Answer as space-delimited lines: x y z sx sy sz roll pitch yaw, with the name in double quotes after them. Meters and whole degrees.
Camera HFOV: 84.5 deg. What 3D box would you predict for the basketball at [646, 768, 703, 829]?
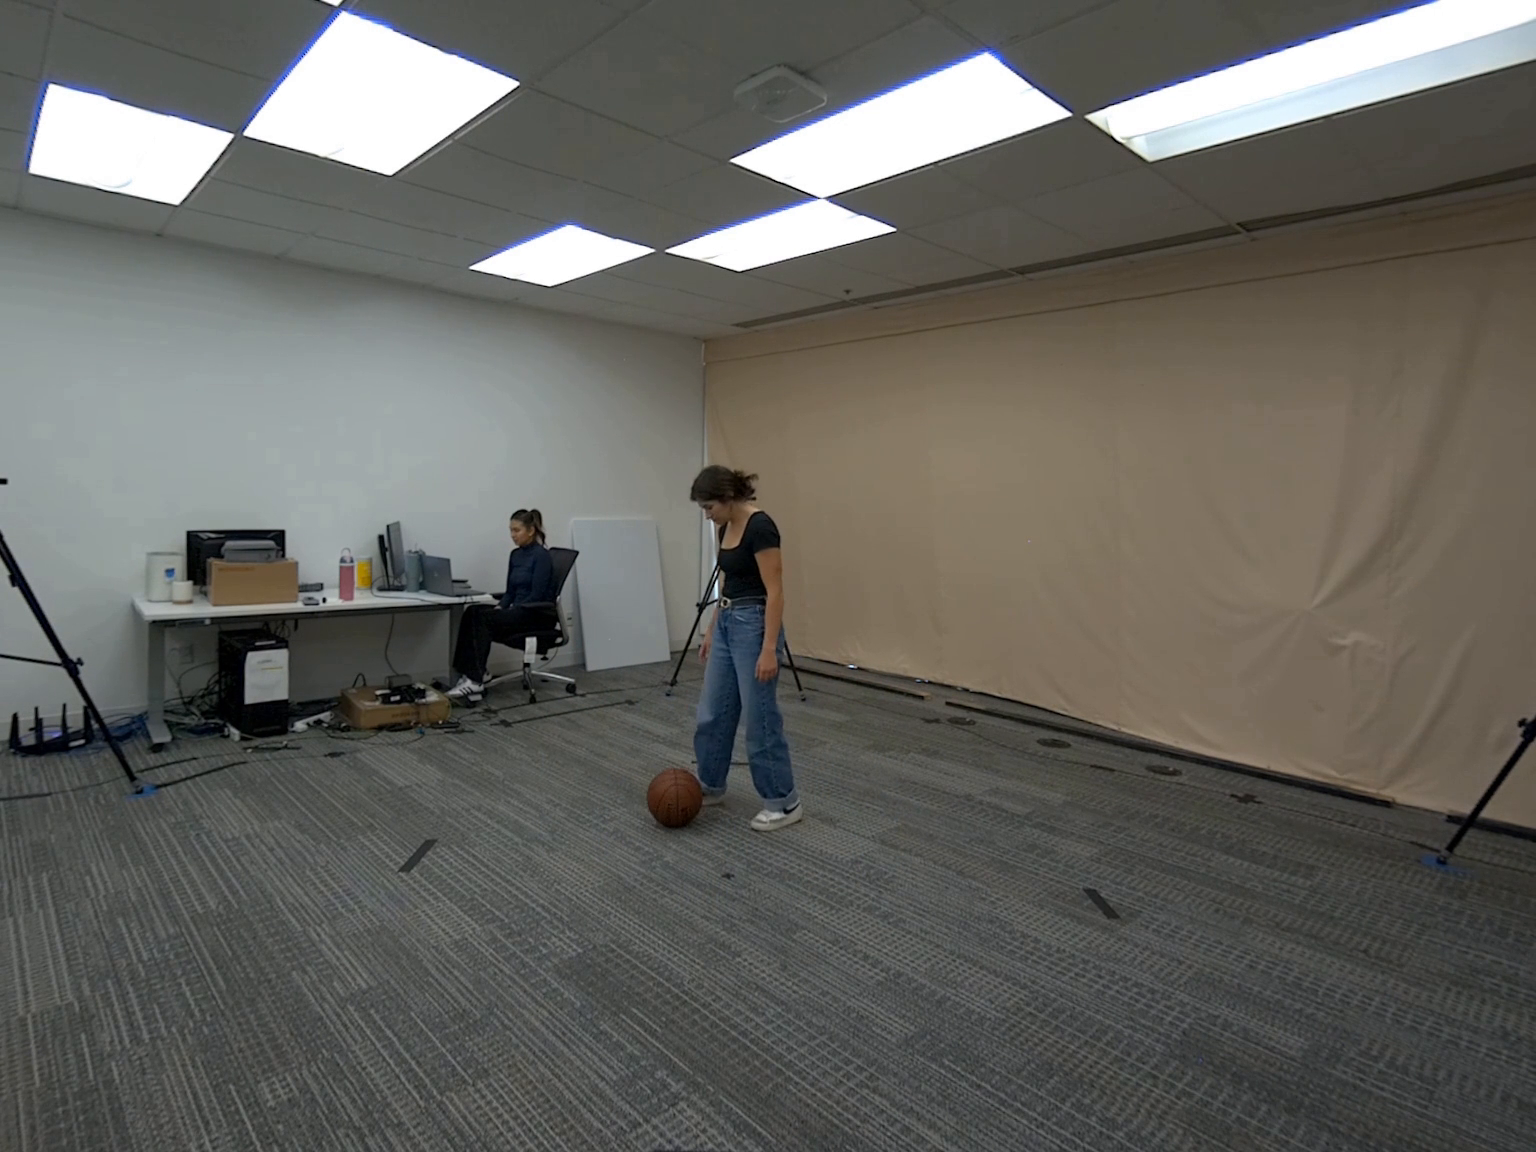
-0.403 0.937 3.572 0.236 0.235 0.237 1 4 -1 "basketball"
